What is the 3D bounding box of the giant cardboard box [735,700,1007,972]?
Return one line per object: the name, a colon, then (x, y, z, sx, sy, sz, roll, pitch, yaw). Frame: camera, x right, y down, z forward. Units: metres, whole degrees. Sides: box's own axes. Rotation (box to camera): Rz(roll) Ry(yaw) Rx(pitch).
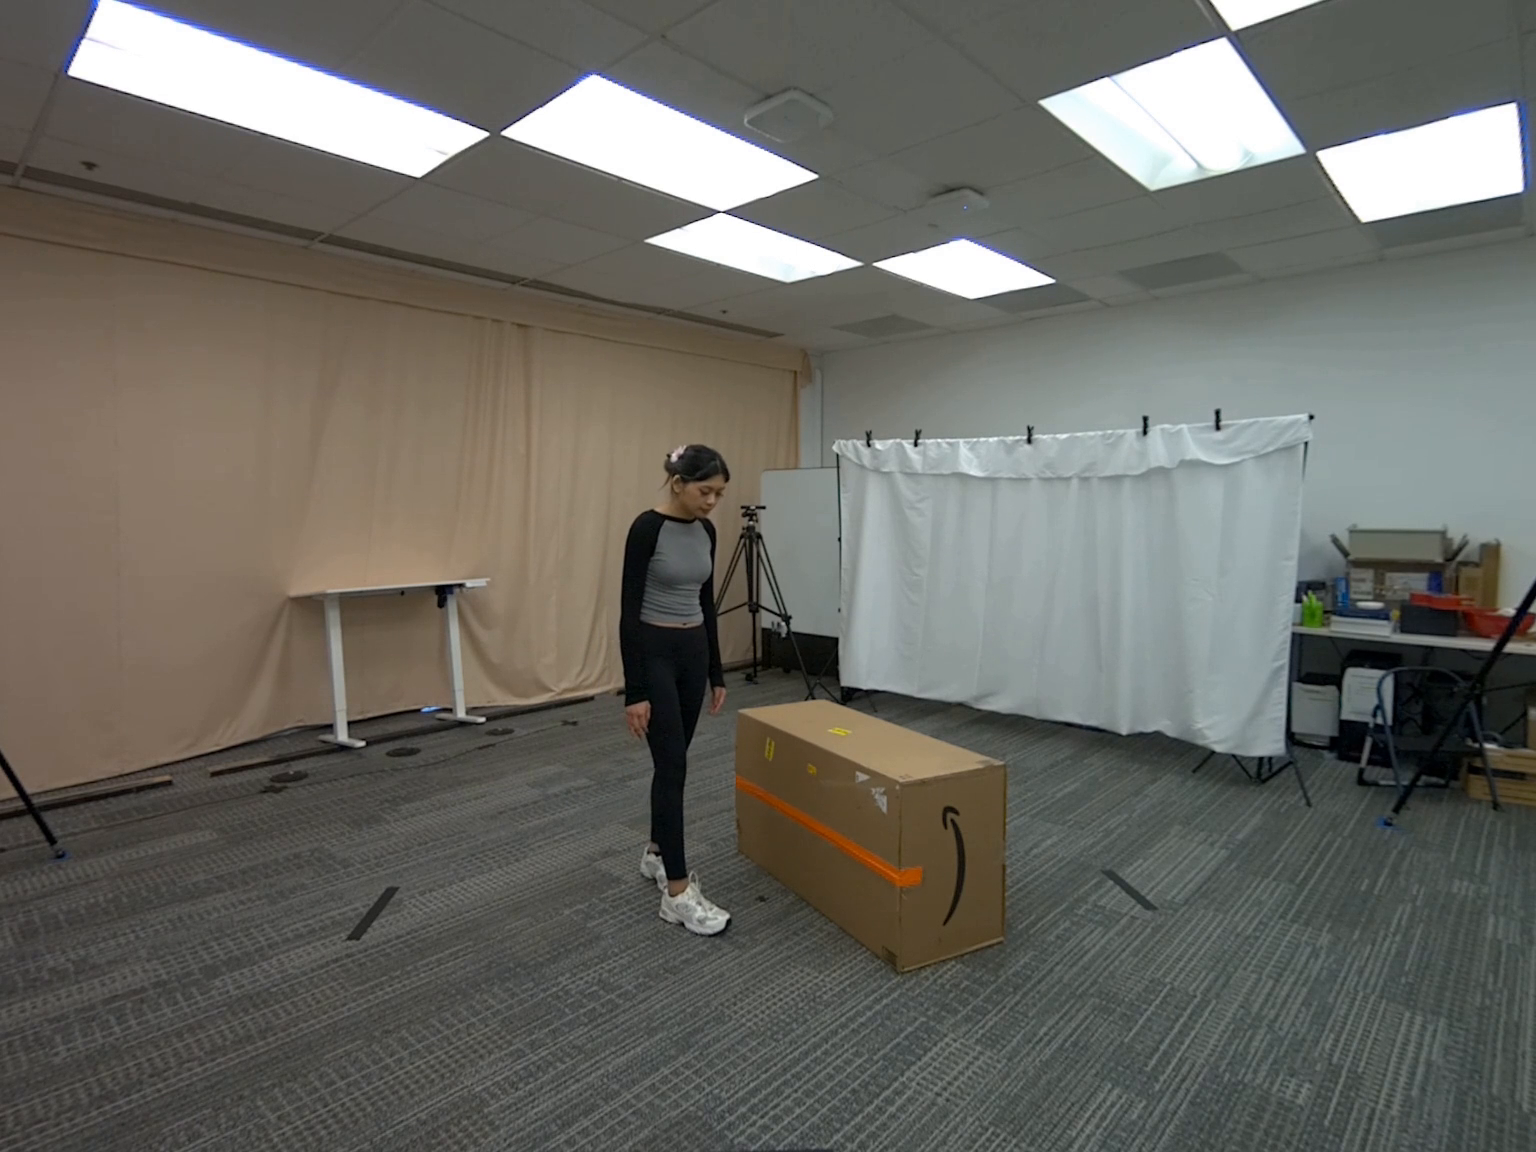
giant cardboard box: (0.316, 0.850, 3.032, 0.415, 0.576, 1.055, -2, 4, -29)
